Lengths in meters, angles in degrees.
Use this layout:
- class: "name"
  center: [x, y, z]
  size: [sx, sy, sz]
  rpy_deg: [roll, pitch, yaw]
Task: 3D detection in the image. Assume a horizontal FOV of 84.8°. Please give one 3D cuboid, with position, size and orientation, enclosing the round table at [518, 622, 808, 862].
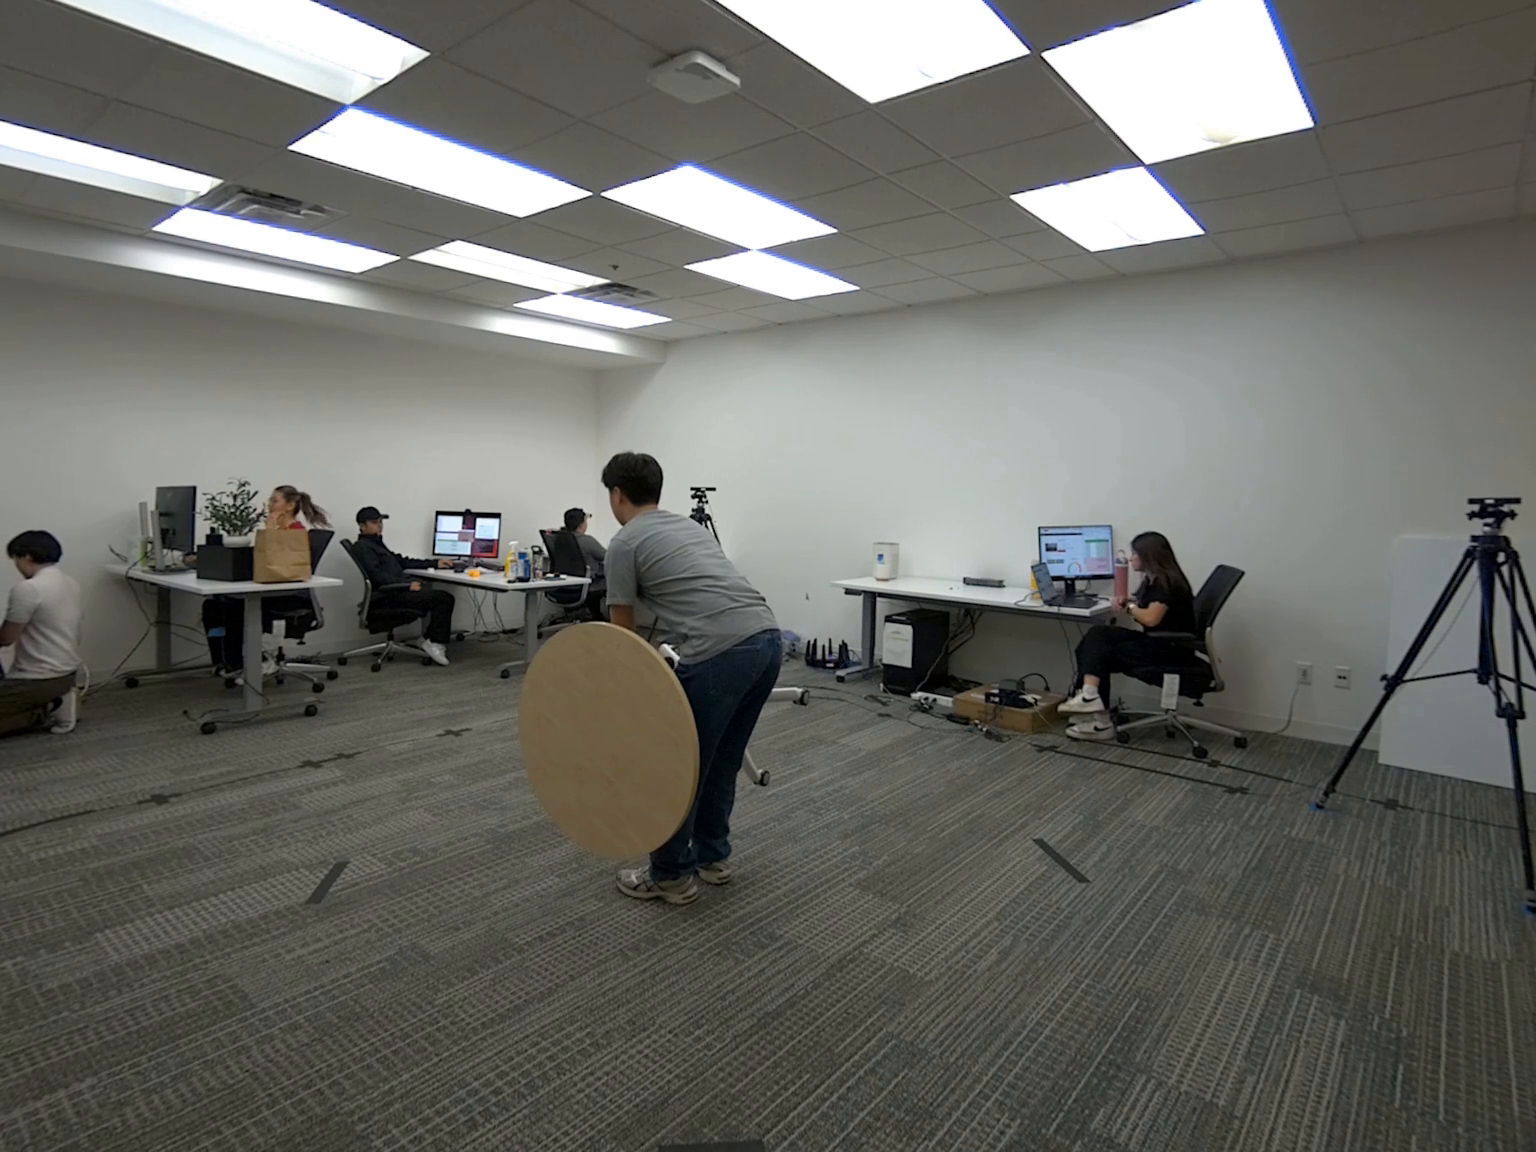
- class: "round table"
  center: [-0.358, 0.502, 3.095]
  size: [0.787, 0.761, 0.773]
  rpy_deg: [3, 5, 33]
